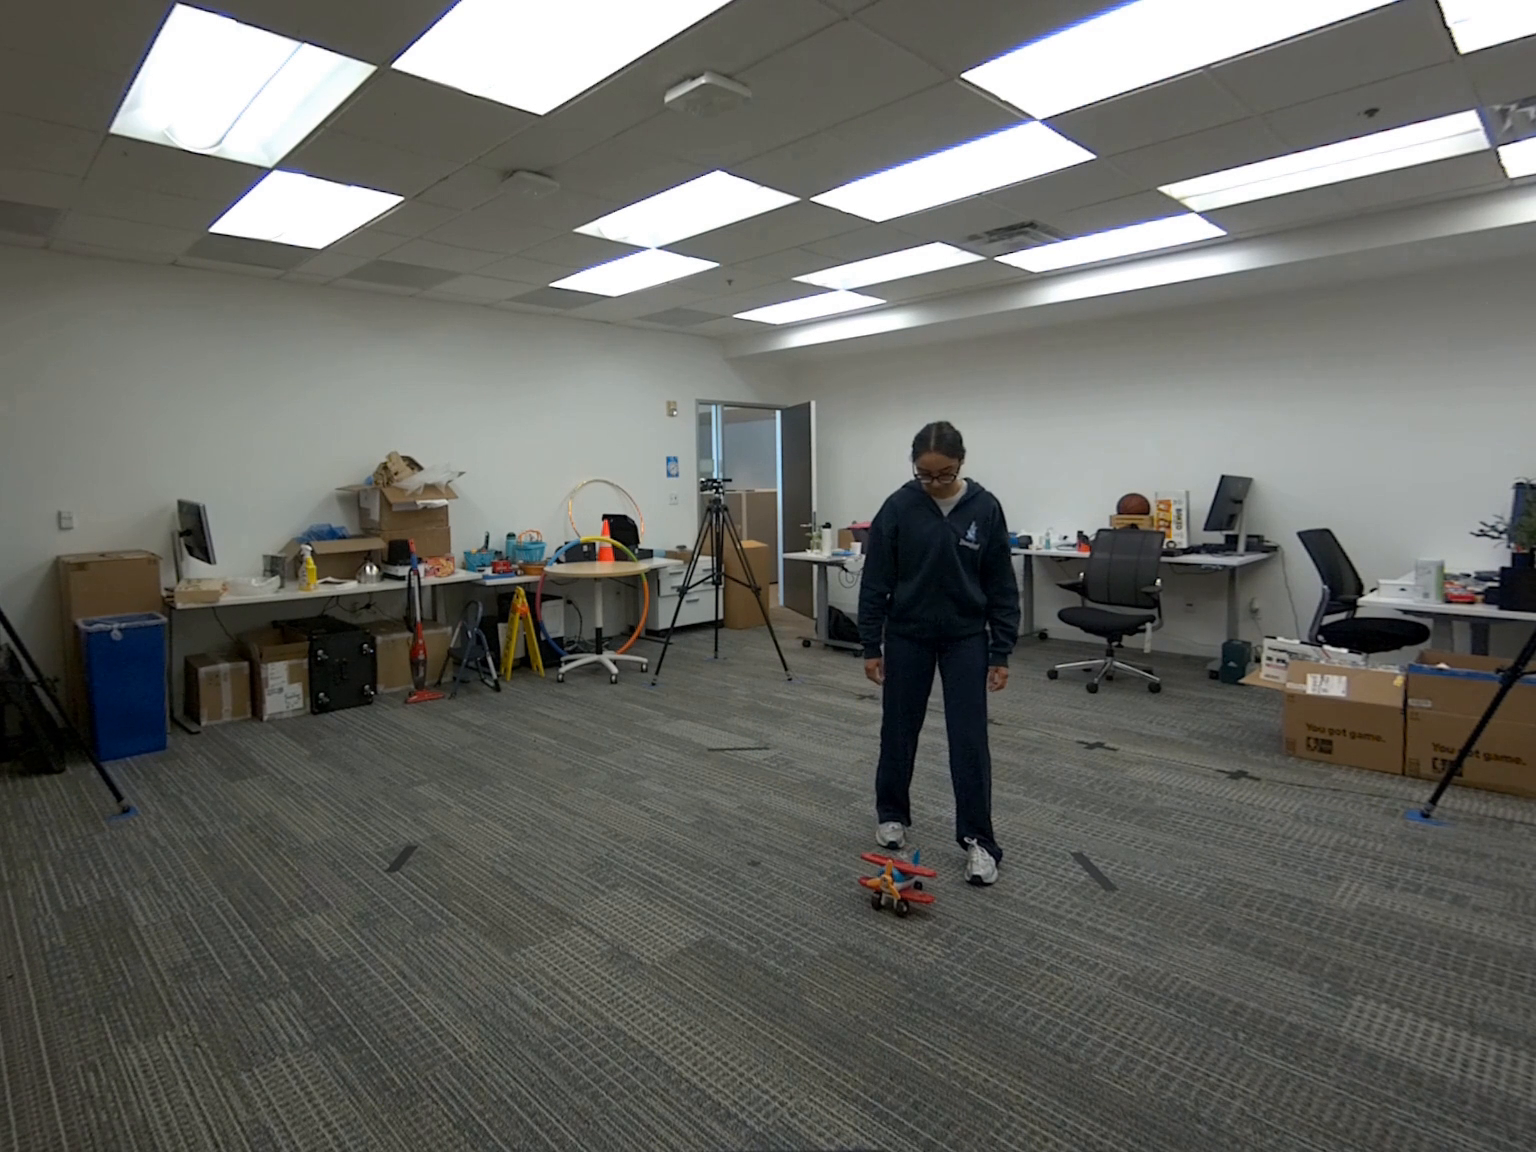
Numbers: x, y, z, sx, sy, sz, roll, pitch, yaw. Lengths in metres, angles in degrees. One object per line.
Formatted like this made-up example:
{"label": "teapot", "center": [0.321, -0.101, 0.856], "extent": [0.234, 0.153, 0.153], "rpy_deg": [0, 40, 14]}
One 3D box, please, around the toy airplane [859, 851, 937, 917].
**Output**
{"label": "toy airplane", "center": [0.425, 0.996, 2.811], "extent": [0.253, 0.155, 0.259], "rpy_deg": [1, 7, 6]}
